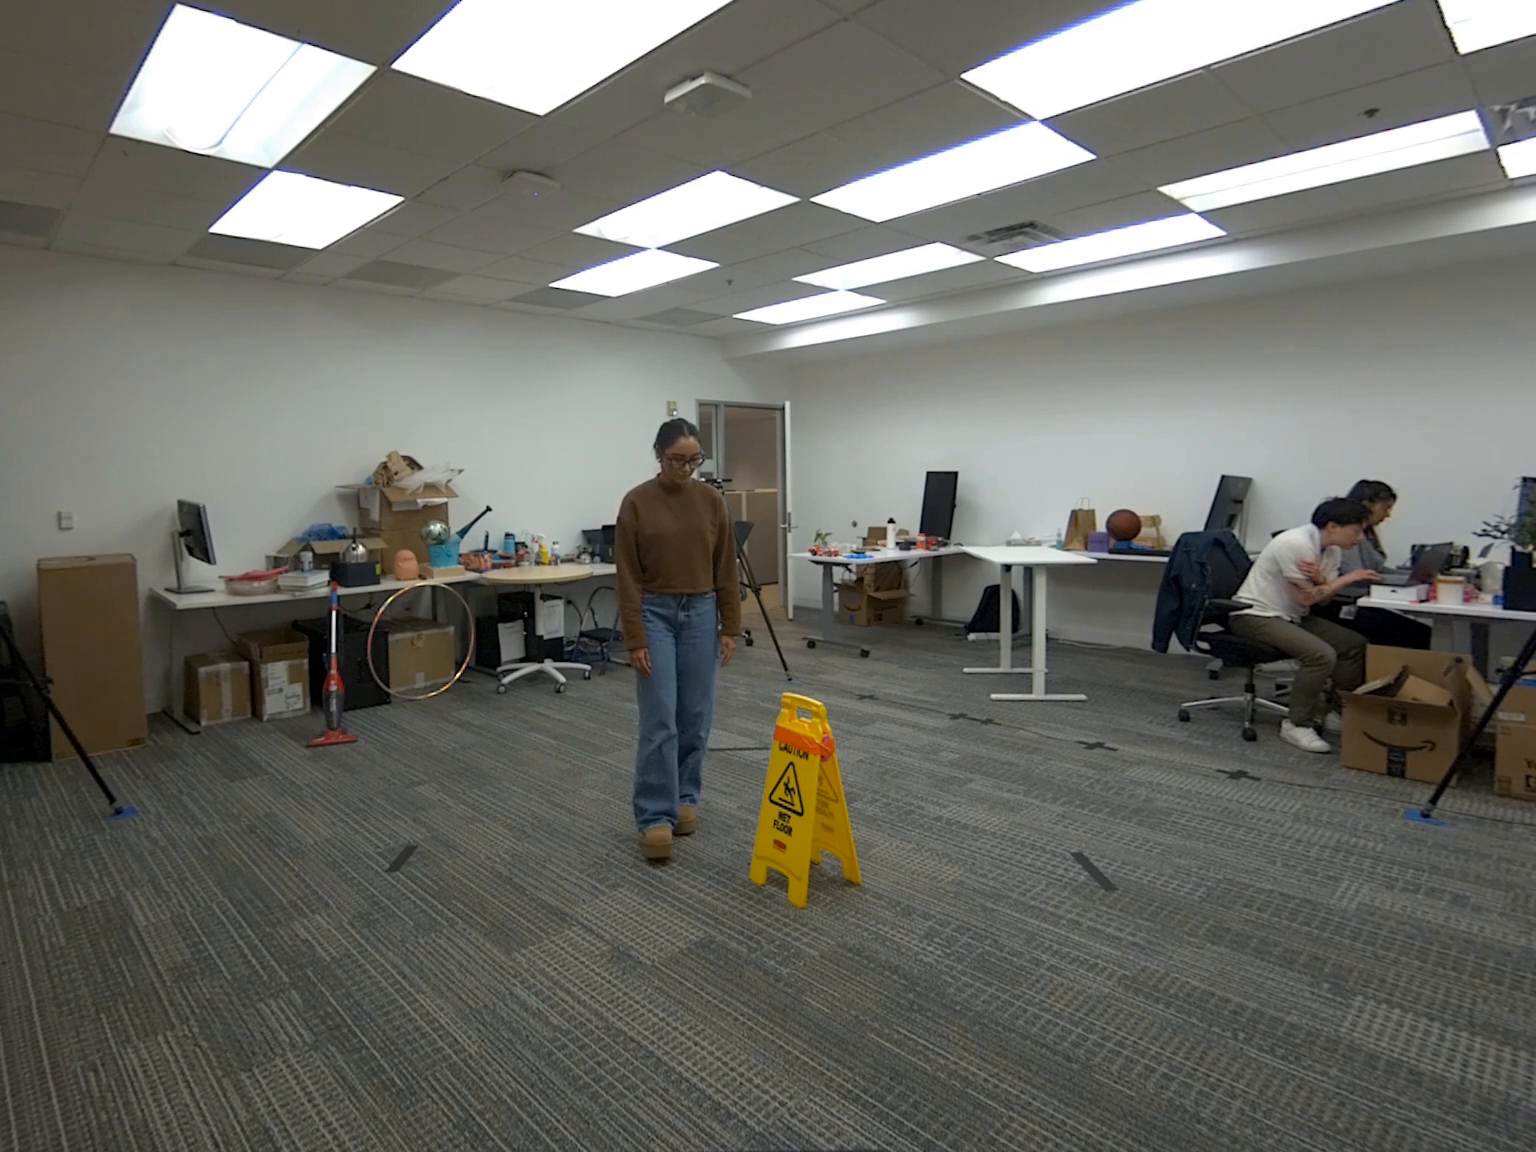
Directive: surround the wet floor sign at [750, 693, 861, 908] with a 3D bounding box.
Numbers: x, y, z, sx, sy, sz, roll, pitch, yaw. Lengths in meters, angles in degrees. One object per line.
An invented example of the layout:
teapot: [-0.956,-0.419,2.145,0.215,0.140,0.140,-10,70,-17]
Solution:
wet floor sign: [0.125,0.737,2.934,0.282,0.644,0.291,-4,5,-39]
